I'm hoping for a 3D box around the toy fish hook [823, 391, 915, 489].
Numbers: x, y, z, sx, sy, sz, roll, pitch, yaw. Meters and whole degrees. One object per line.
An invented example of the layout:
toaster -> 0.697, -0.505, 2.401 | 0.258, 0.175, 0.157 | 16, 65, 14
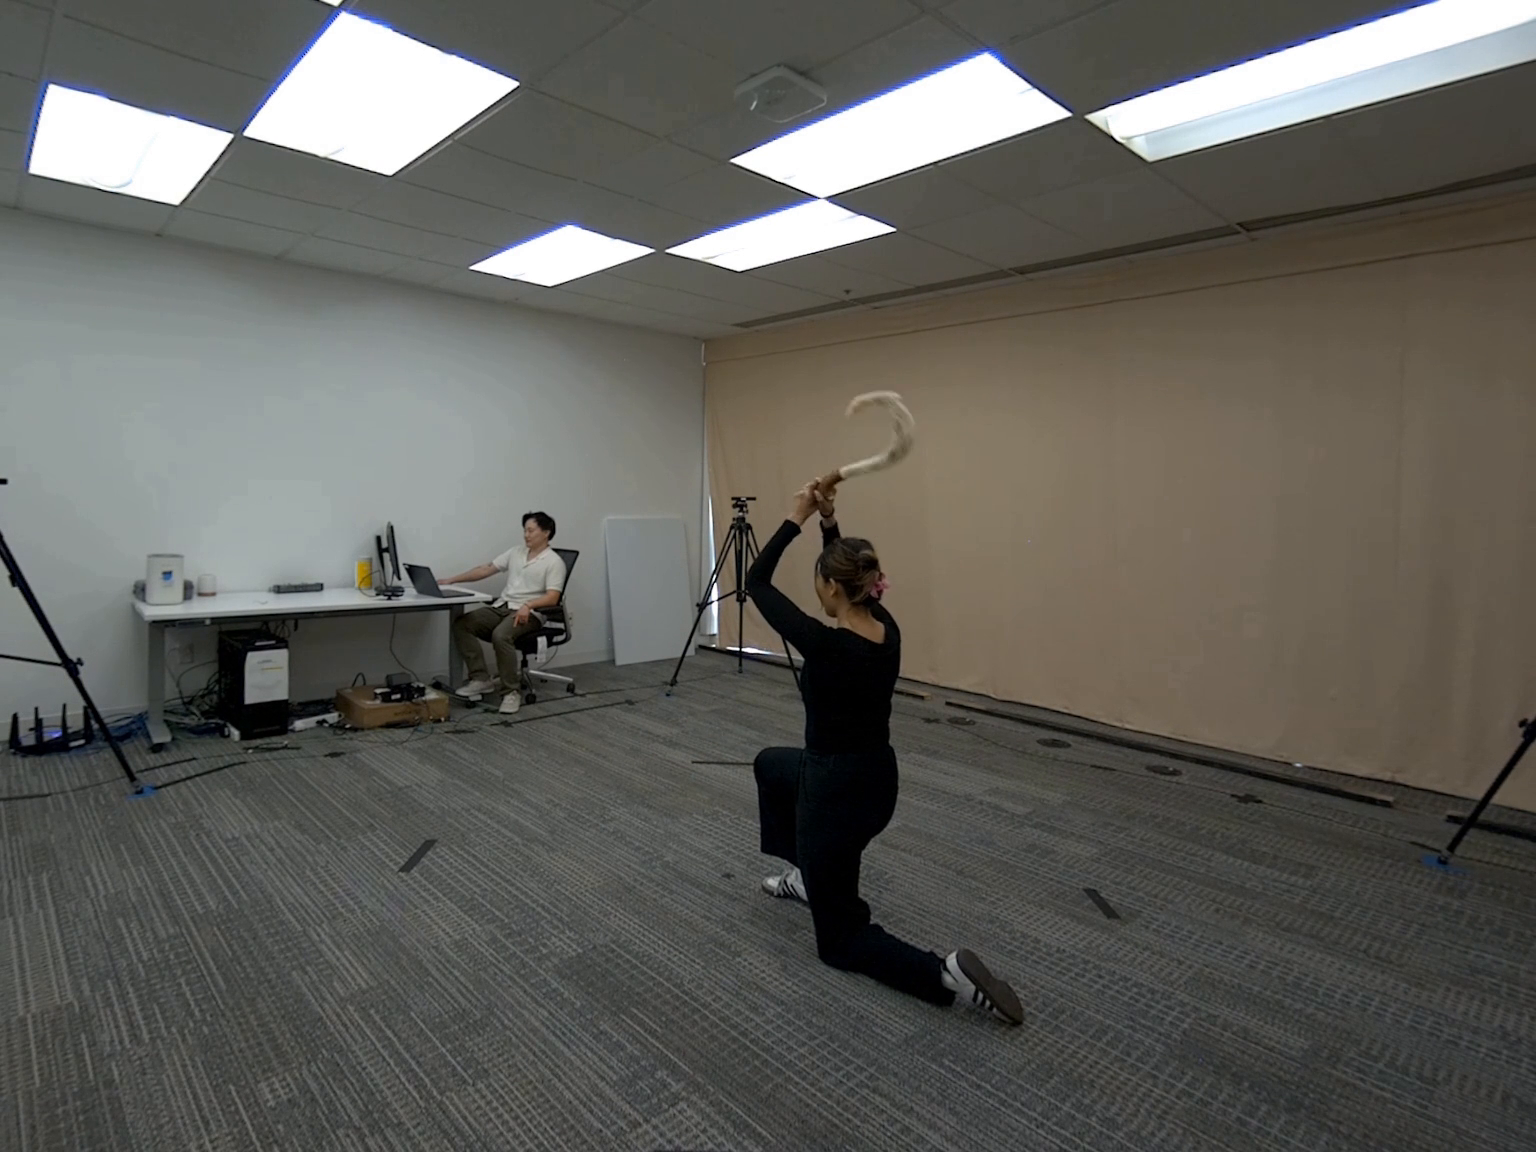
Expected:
toy fish hook -> 0.216, -0.353, 2.541 | 0.047, 0.227, 0.510 | -9, -16, -42
